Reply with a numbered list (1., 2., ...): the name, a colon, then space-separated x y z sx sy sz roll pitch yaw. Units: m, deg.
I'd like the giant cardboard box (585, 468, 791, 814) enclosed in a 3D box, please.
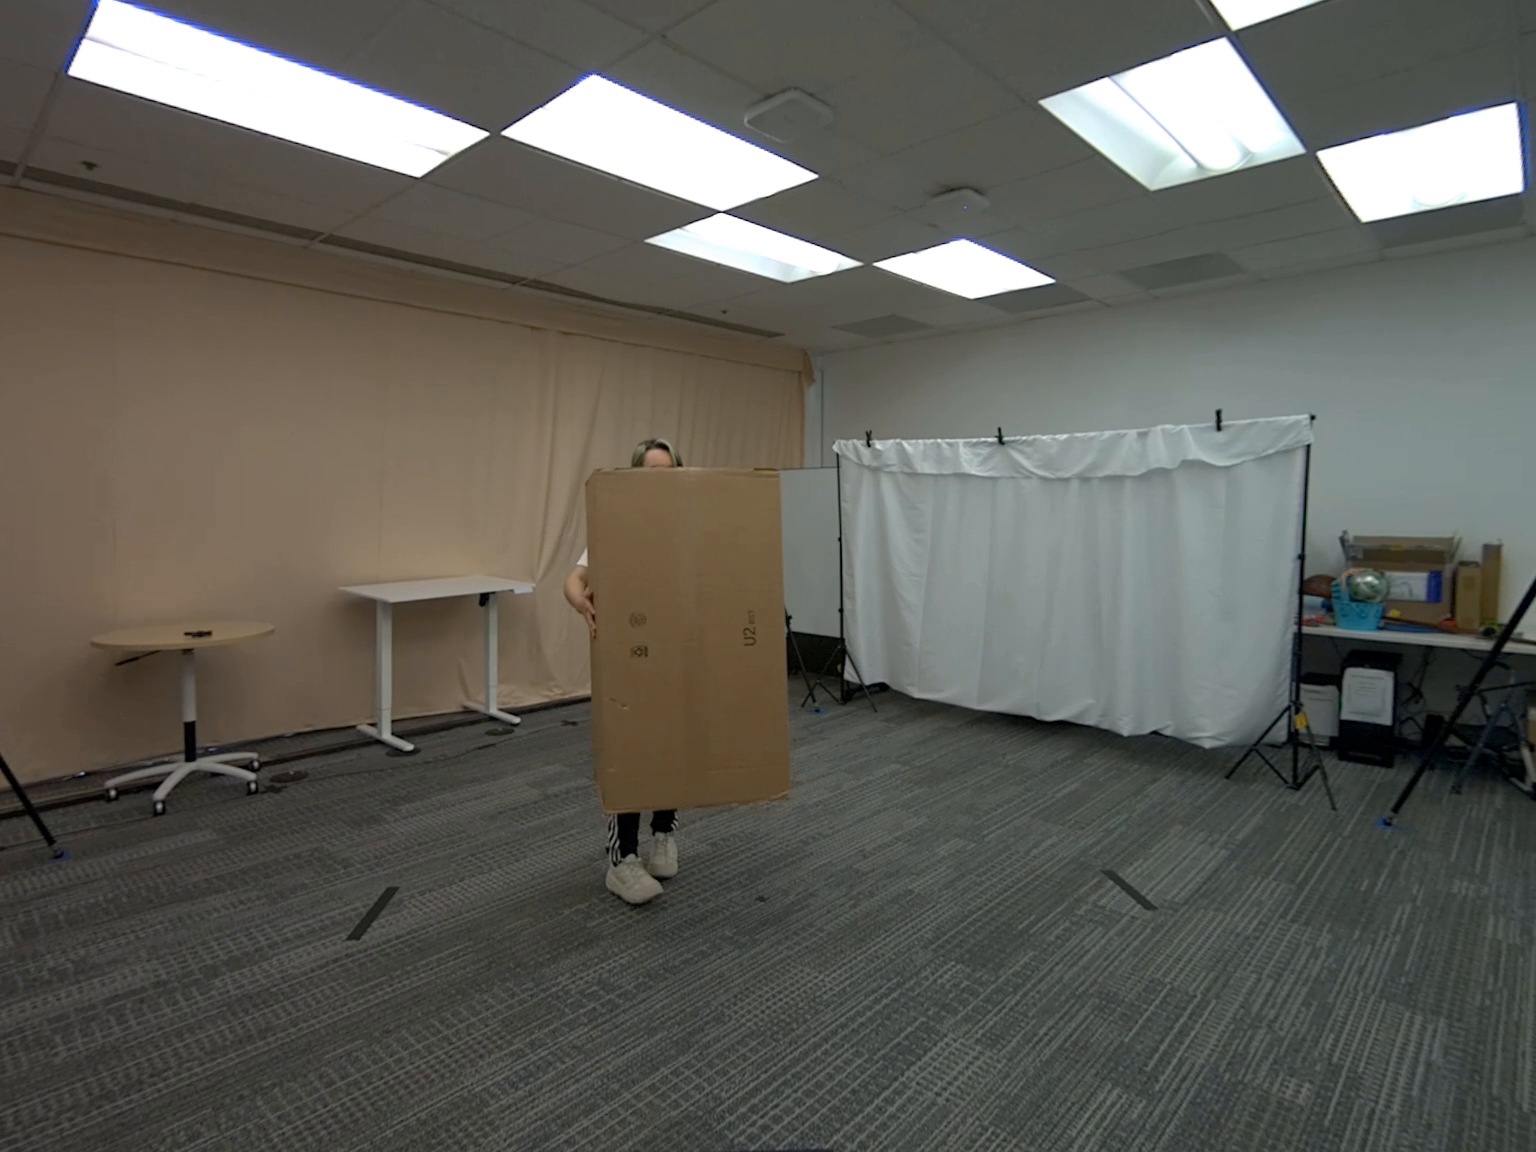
1. giant cardboard box: -0.278 0.185 2.735 0.570 1.026 0.432 -1 -1 -13
